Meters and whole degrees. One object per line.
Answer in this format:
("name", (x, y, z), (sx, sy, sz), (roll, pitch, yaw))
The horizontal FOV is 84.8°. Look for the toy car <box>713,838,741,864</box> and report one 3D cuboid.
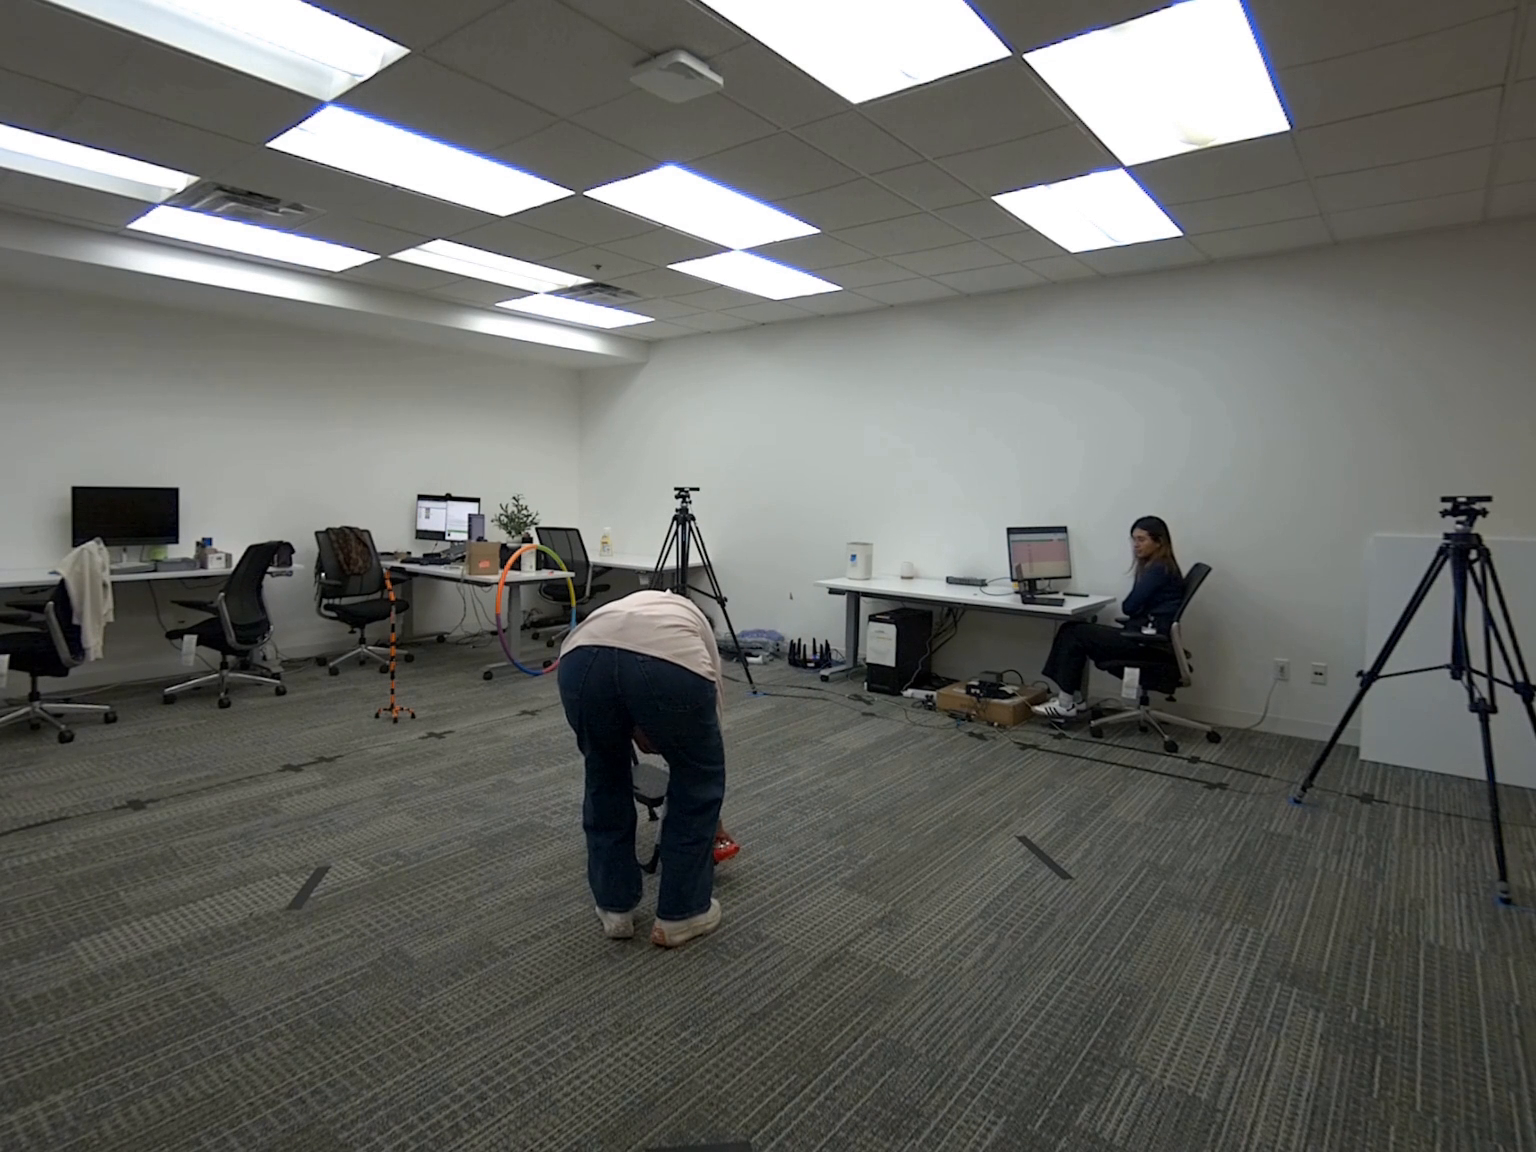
("toy car", (-0.214, 0.988, 3.052), (0.127, 0.084, 0.258), (-9, -11, -44))
